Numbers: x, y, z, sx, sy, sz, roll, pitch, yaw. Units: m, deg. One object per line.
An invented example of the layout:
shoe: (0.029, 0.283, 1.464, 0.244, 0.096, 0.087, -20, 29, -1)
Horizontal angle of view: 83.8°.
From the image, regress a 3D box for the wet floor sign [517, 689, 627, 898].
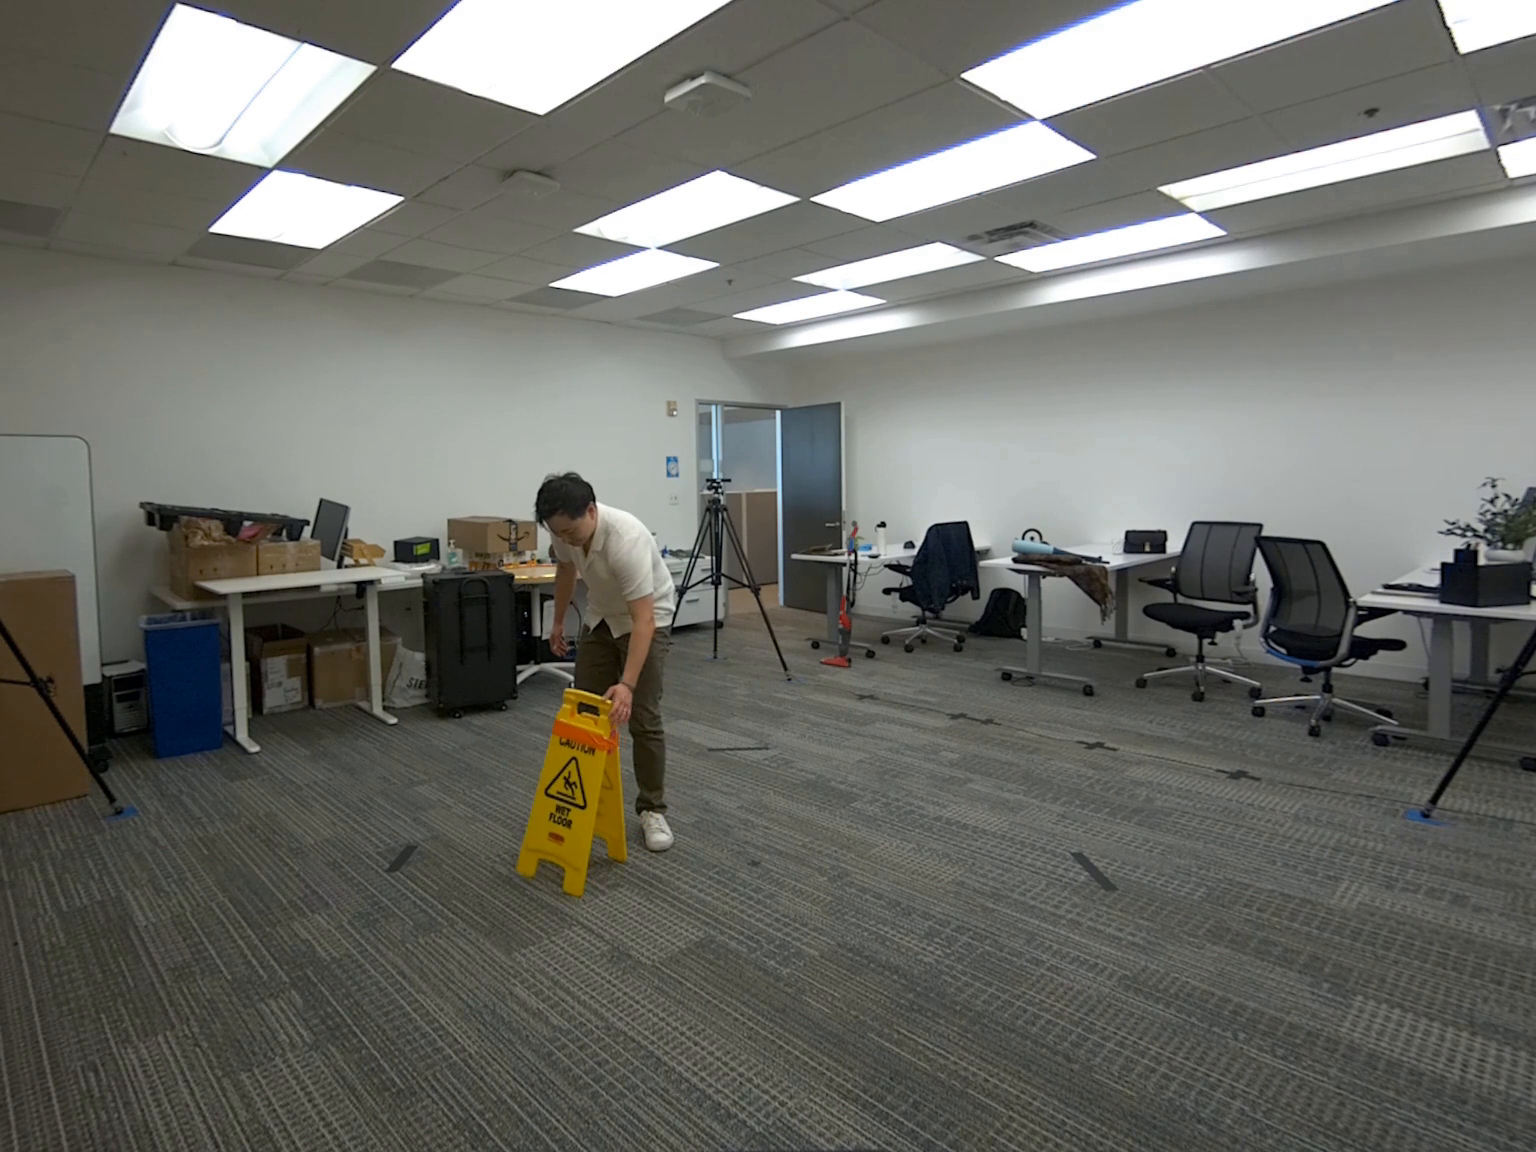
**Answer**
wet floor sign: (-0.665, 0.734, 3.022, 0.289, 0.642, 0.285, 9, 9, 23)
